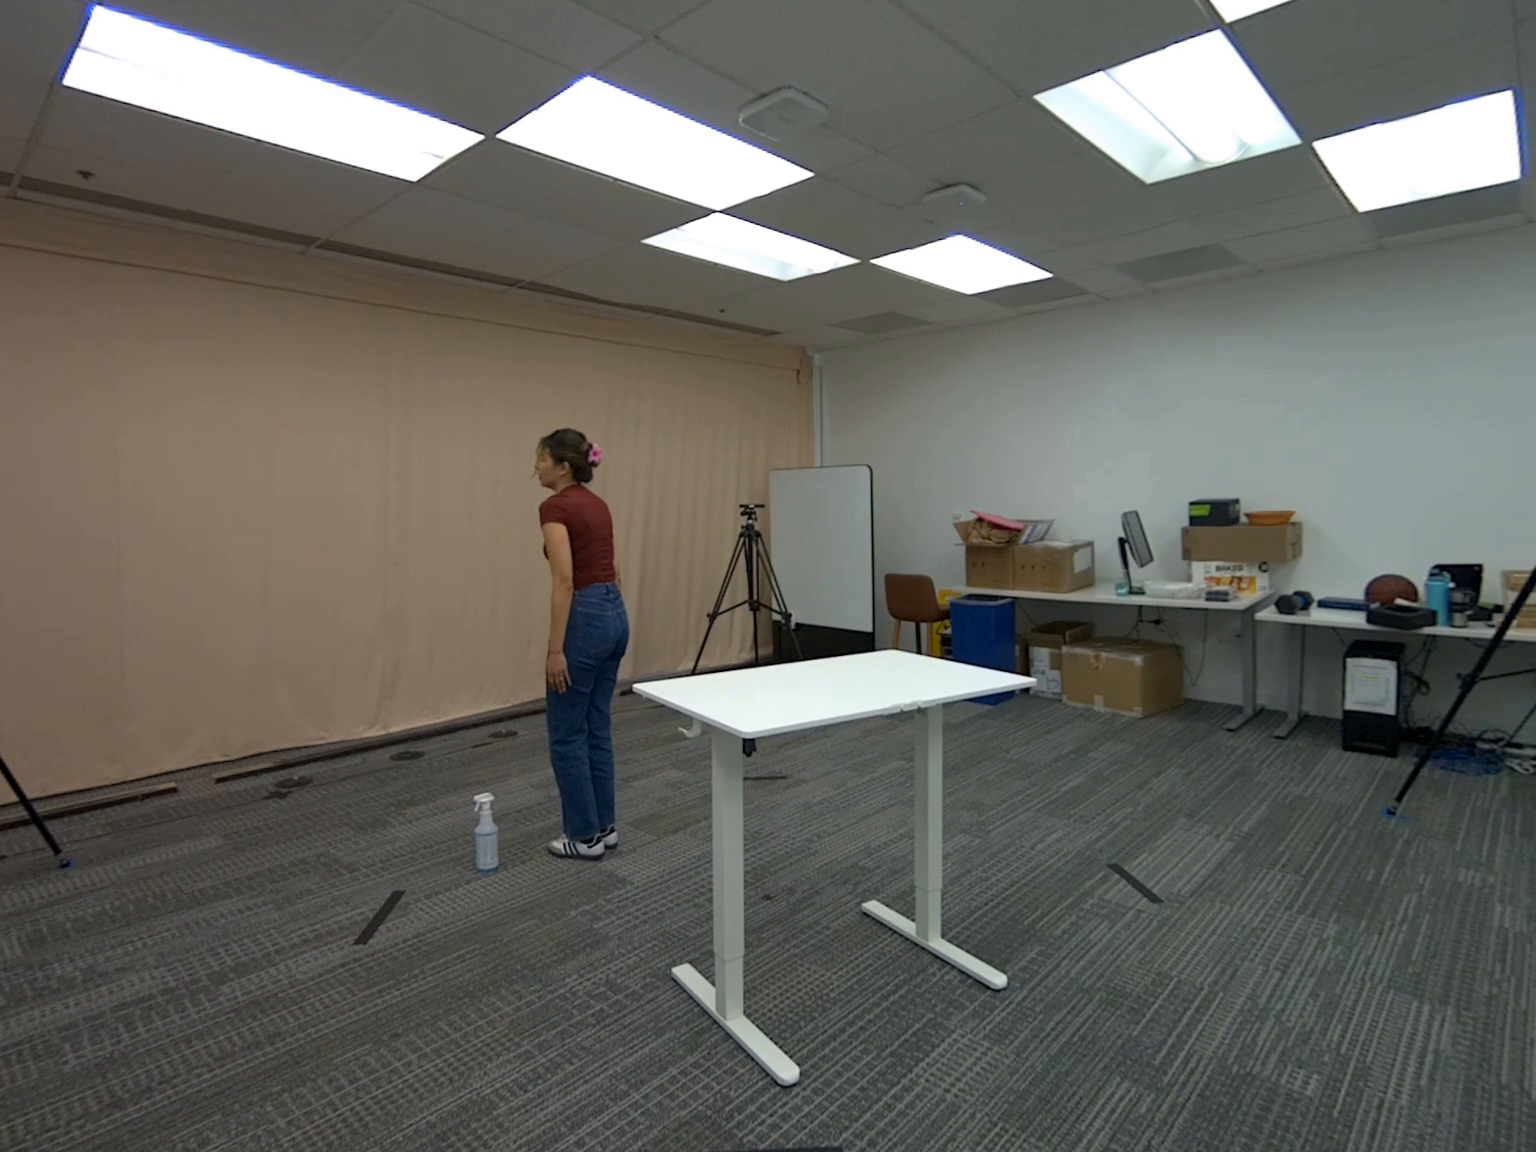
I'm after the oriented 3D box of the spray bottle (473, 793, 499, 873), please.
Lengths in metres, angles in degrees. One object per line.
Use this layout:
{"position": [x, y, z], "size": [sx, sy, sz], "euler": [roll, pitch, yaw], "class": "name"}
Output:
{"position": [-1.102, 0.998, 3.275], "size": [0.088, 0.297, 0.089], "euler": [-3, 3, -28], "class": "spray bottle"}
